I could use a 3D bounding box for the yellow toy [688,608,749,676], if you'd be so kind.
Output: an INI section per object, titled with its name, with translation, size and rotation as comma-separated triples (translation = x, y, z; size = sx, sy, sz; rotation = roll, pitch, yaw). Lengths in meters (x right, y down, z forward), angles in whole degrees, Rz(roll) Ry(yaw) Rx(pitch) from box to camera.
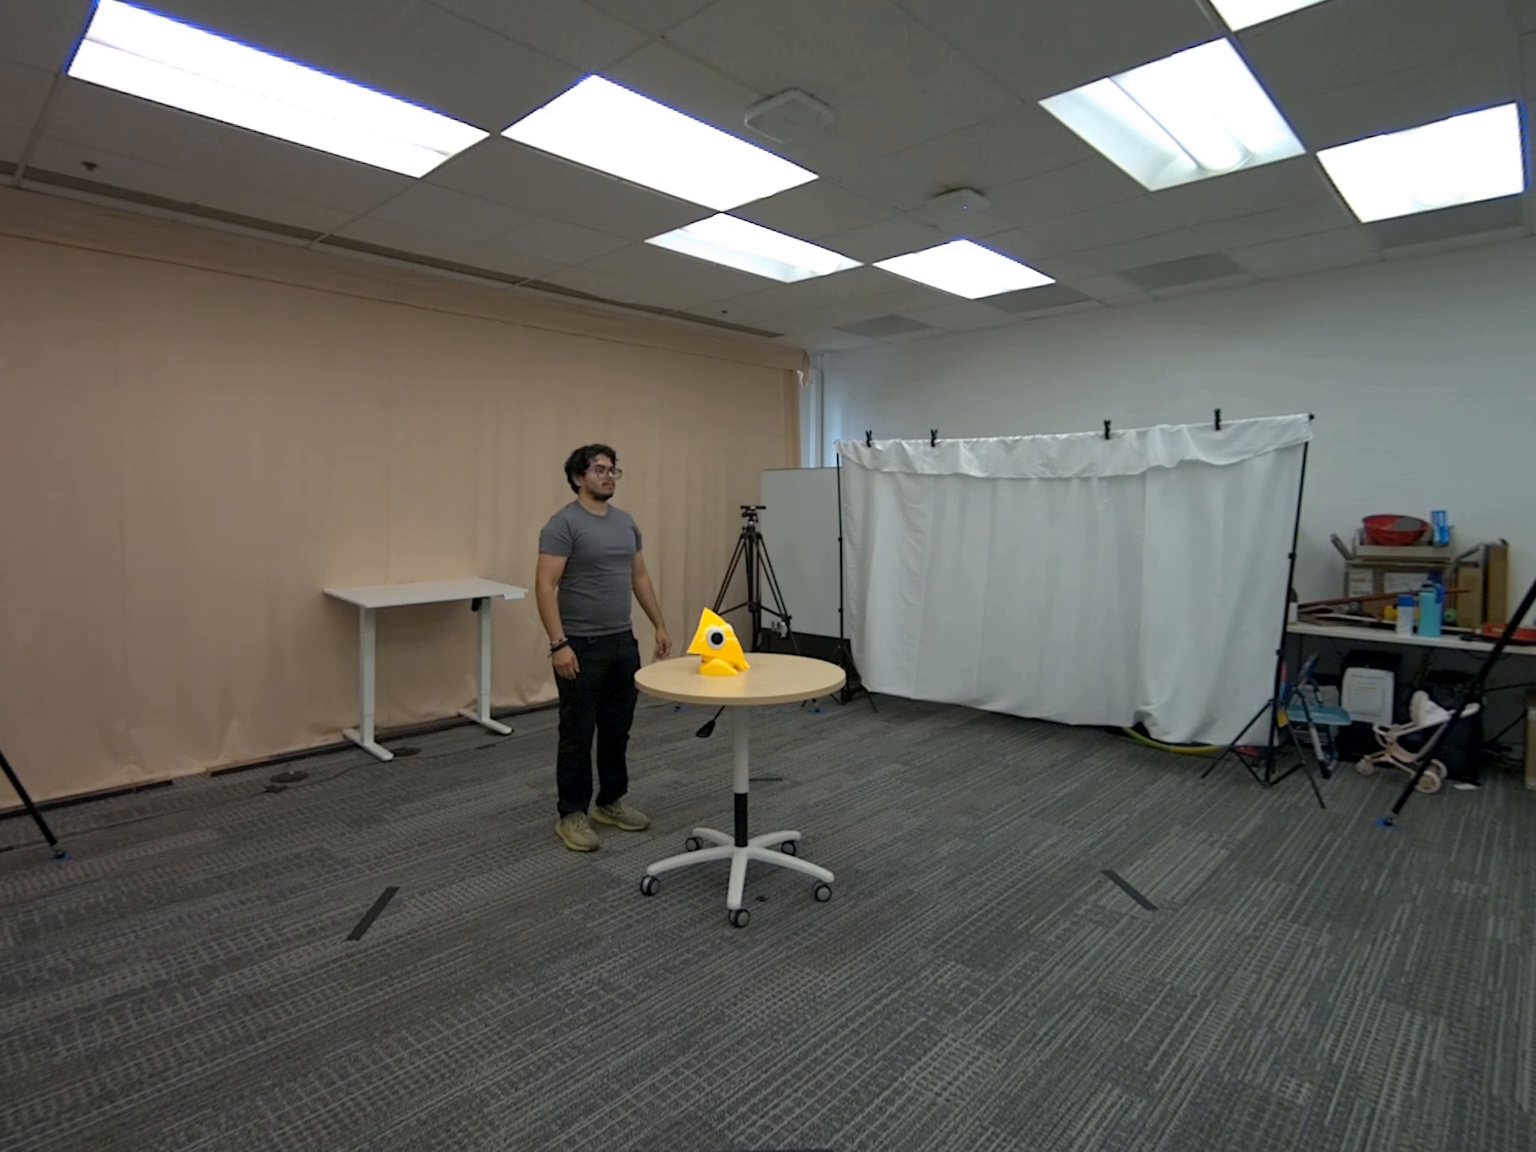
[yellow toy]
translation = -0.173, 0.236, 3.112
size = 0.197, 0.230, 0.201
rotation = 1, 5, 20
